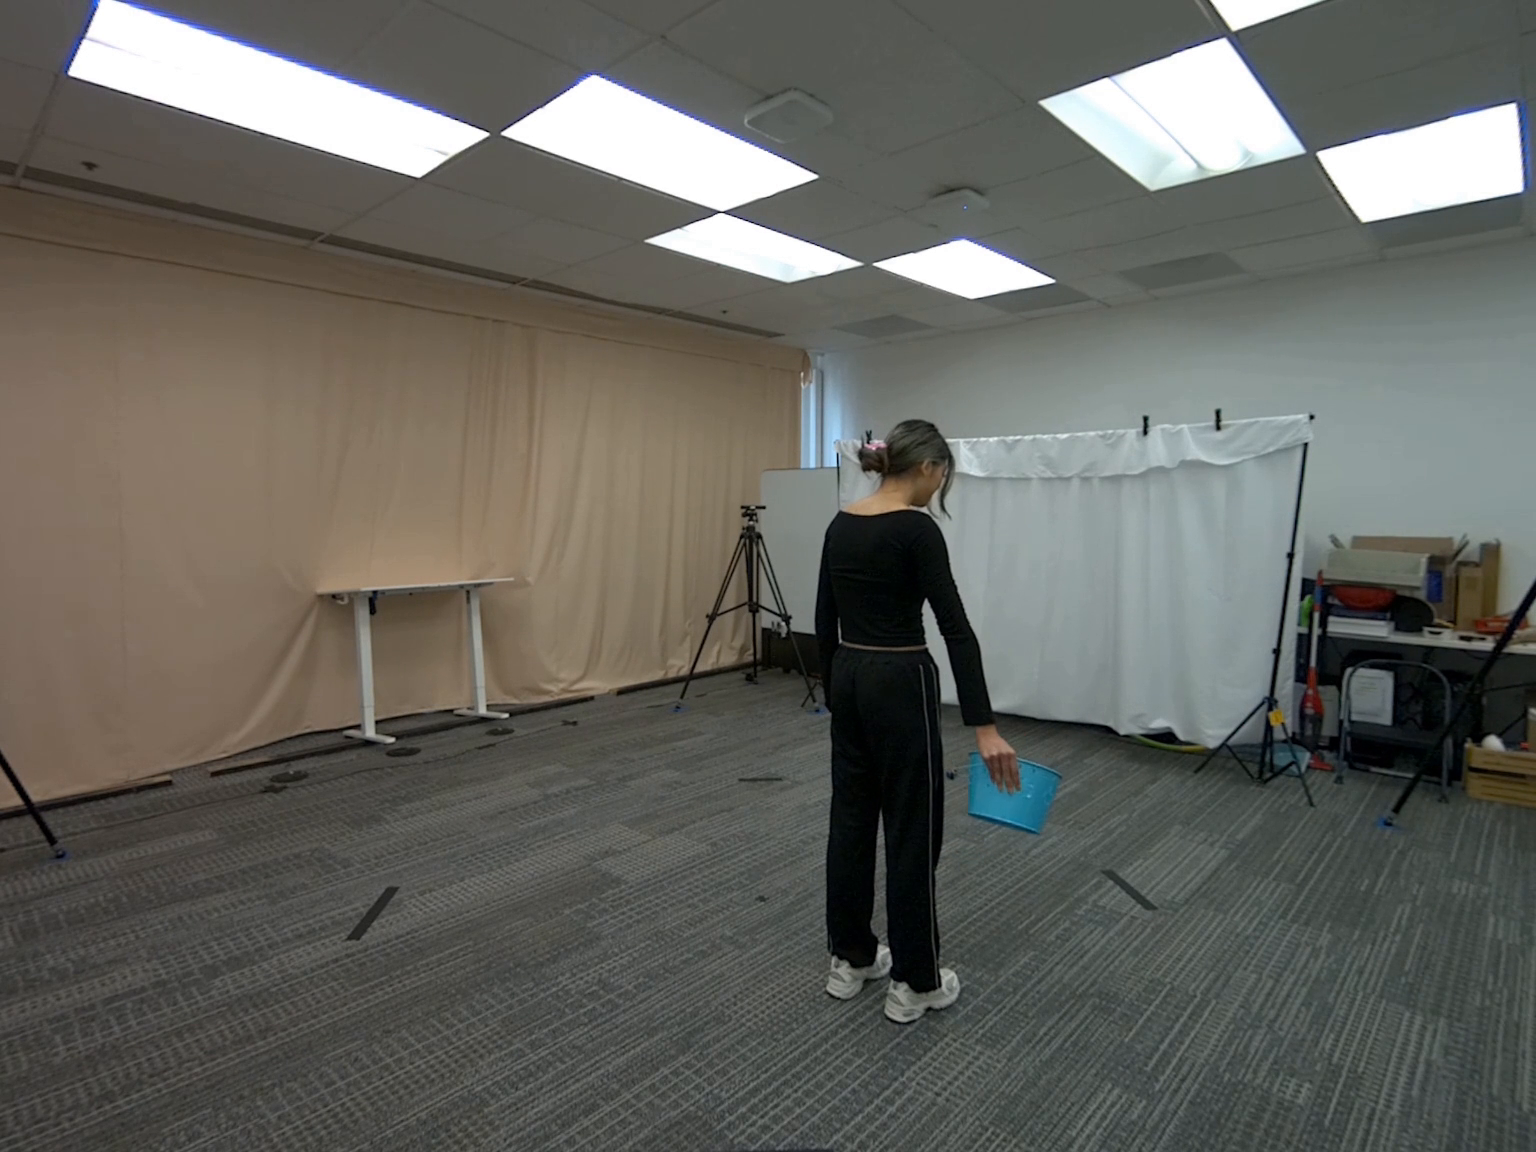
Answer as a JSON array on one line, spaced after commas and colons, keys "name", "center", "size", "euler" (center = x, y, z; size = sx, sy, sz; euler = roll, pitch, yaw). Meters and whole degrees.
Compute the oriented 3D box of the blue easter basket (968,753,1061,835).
[{"name": "blue easter basket", "center": [0.626, 0.559, 2.145], "size": [0.245, 0.156, 0.241], "euler": [16, -15, 3]}]
